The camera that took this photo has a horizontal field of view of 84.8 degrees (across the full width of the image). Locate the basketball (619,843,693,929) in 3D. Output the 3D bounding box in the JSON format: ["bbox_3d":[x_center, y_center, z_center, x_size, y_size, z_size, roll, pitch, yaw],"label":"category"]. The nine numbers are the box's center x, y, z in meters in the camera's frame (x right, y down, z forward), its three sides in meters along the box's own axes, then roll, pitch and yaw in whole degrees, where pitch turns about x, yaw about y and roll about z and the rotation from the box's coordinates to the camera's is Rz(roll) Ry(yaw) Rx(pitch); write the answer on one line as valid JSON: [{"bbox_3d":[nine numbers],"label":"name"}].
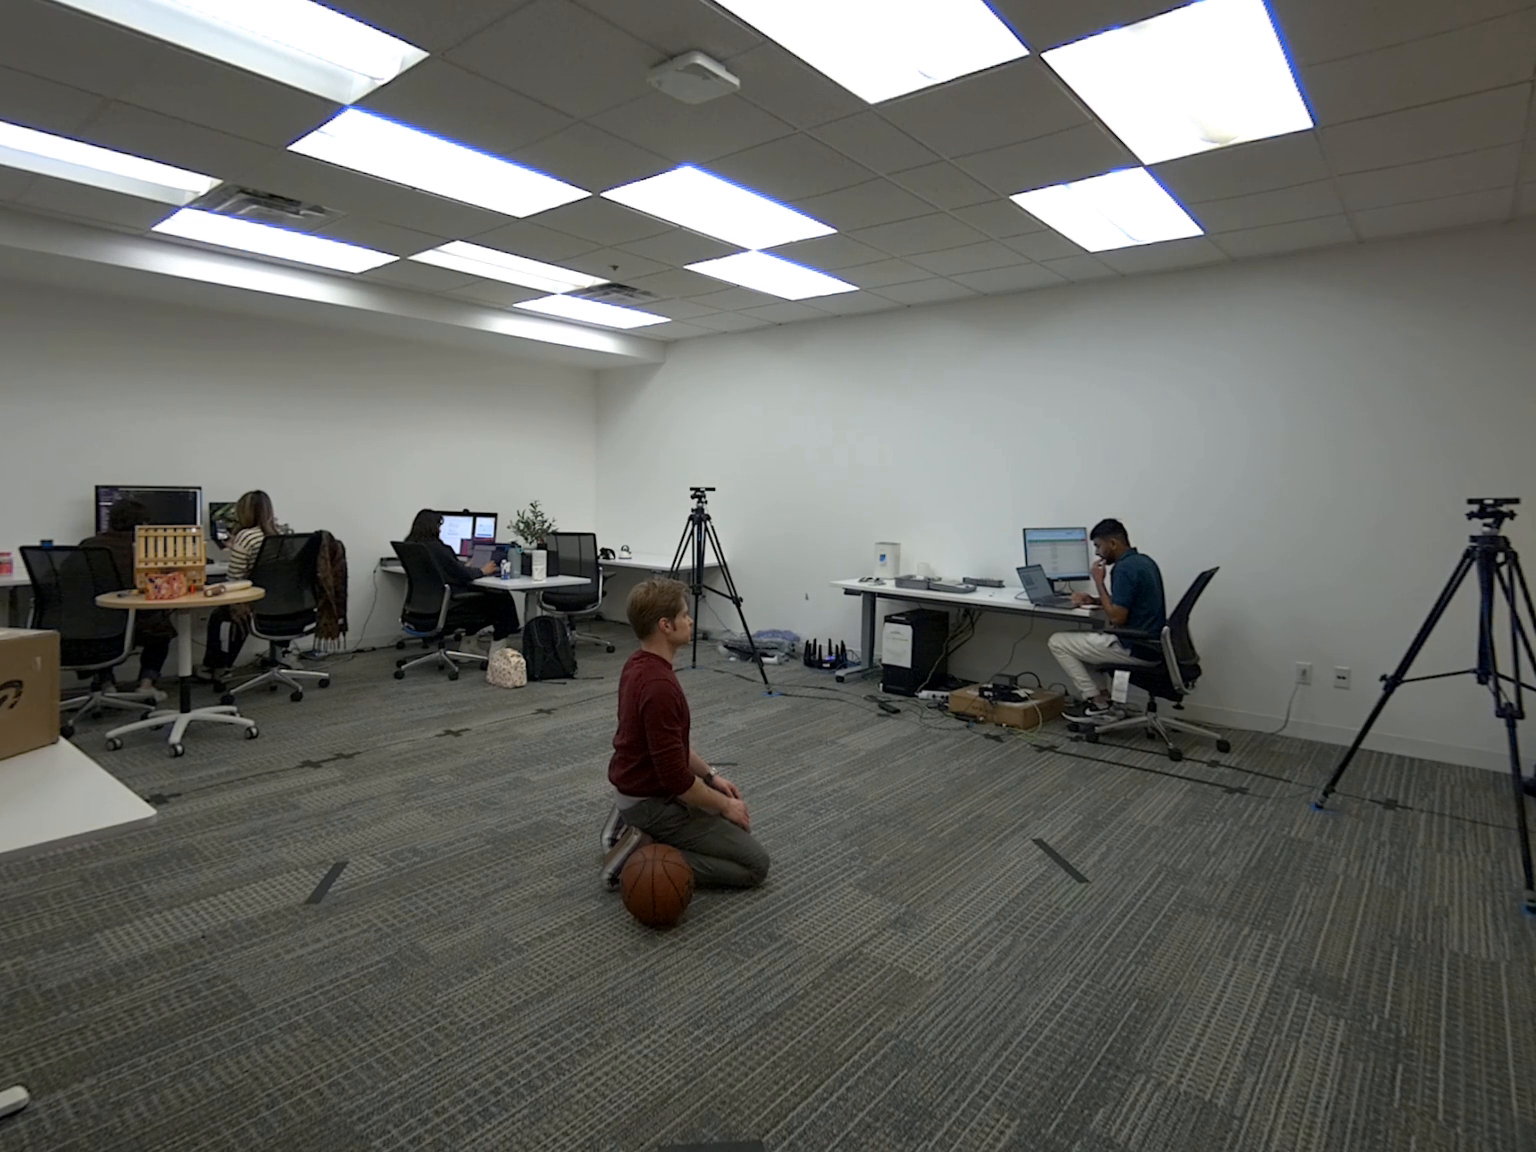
[{"bbox_3d":[-0.368,0.977,2.721,0.235,0.235,0.237,1,4,-2],"label":"basketball"}]
